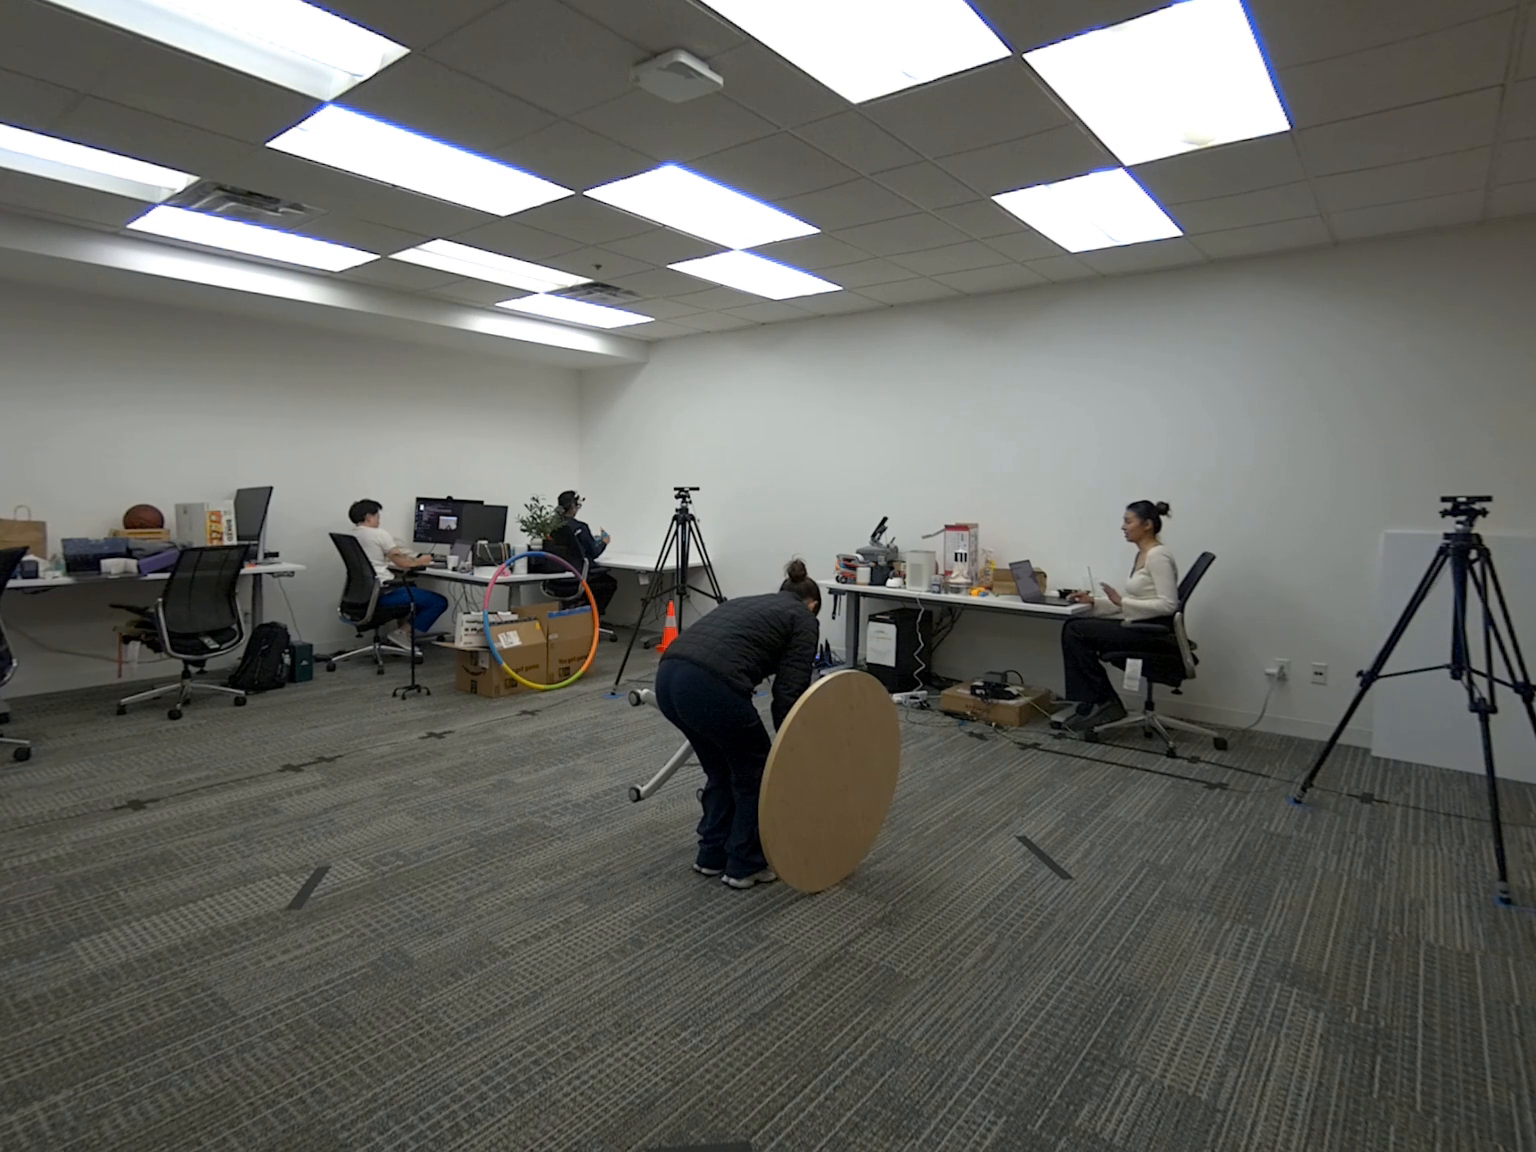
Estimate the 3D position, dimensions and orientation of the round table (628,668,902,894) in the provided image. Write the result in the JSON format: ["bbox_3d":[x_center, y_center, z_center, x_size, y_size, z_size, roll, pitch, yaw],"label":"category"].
[{"bbox_3d":[-0.044,0.659,3.234,0.814,0.782,0.761,7,7,43],"label":"round table"}]
